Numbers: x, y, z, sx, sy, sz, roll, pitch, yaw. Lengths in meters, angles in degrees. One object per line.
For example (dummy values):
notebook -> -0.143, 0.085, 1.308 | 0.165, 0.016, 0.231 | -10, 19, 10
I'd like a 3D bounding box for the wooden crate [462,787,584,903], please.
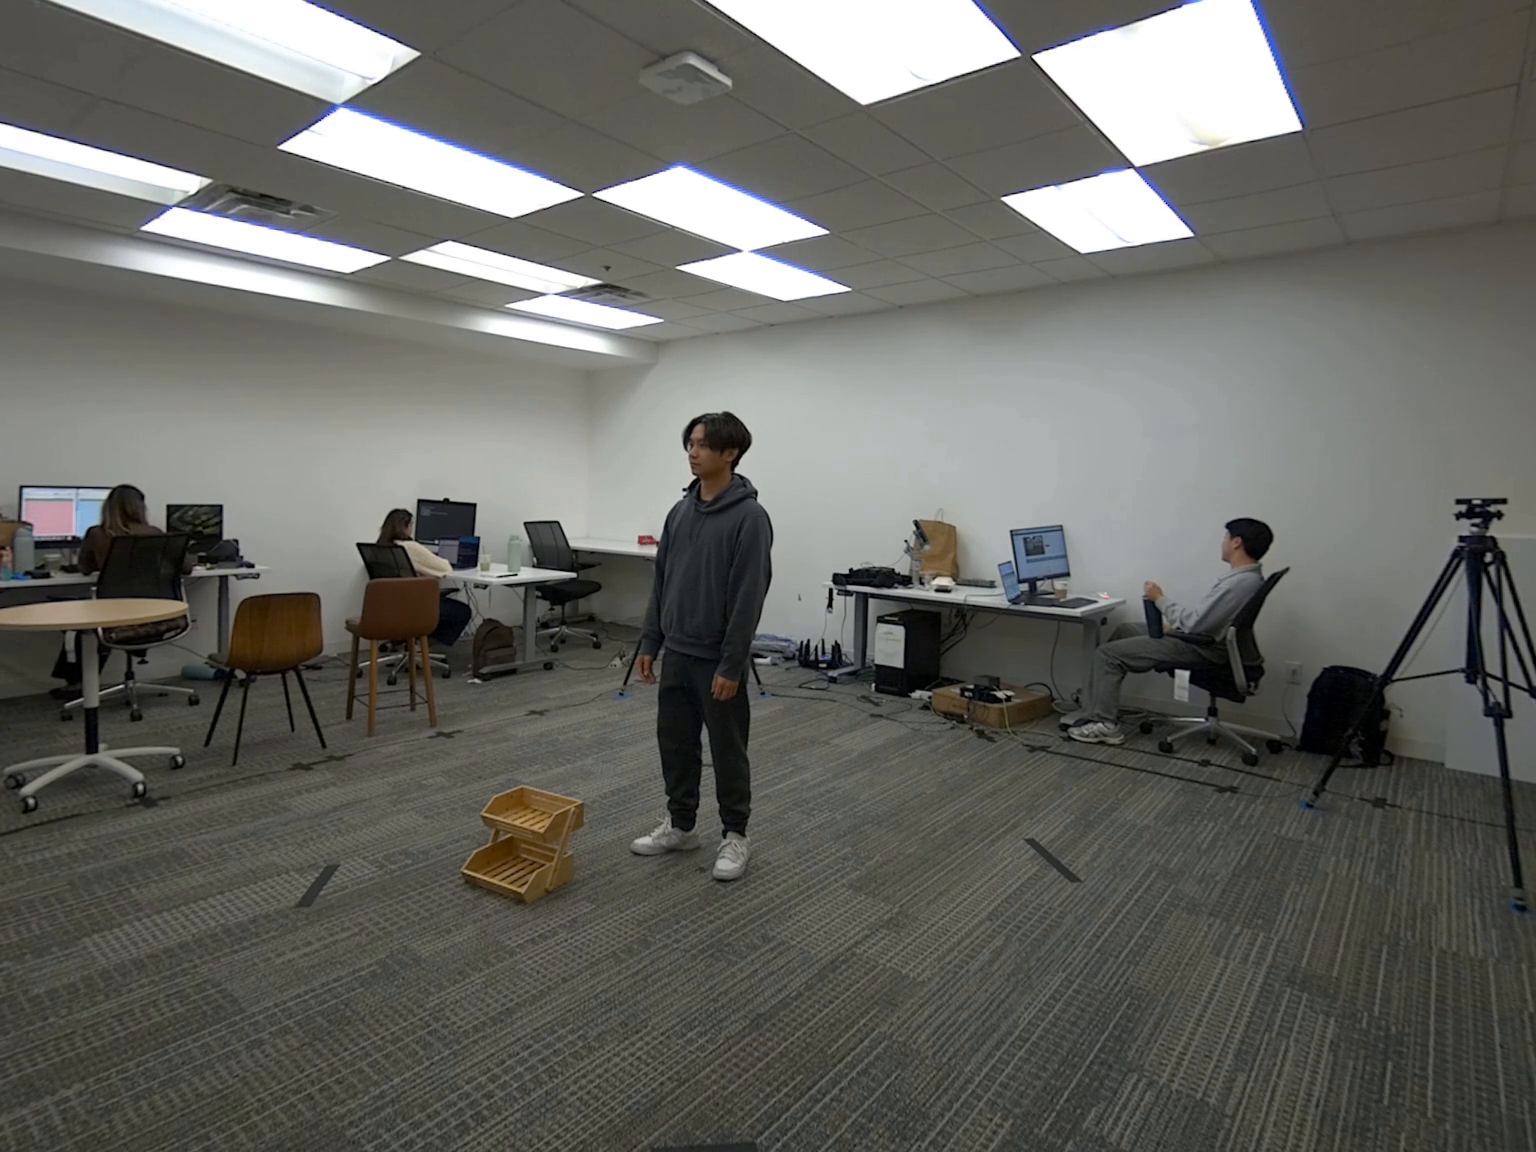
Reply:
wooden crate -> -0.881, 0.939, 3.002 | 0.334, 0.272, 0.294 | 3, 4, 29
